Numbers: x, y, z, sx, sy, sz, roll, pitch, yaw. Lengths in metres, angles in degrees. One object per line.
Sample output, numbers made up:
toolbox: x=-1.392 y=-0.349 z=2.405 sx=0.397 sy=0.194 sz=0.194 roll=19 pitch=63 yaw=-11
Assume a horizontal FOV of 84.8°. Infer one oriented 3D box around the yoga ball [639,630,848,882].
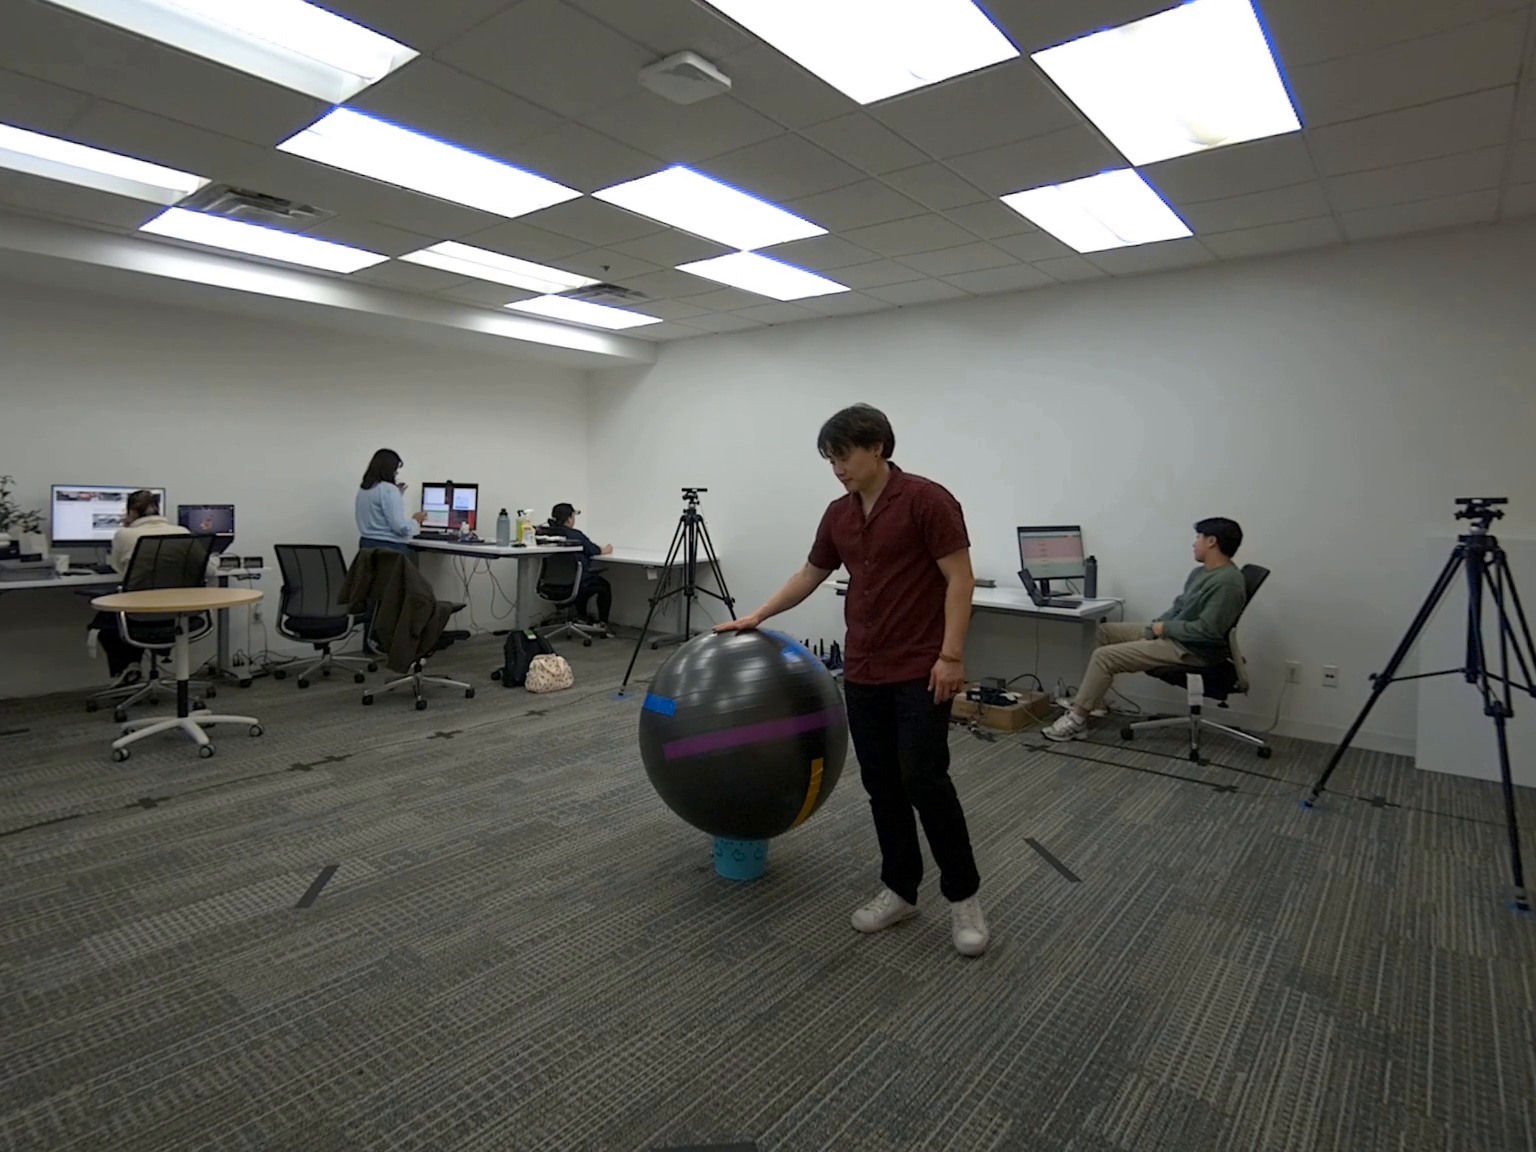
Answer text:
yoga ball: x=-0.106 y=0.561 z=3.101 sx=0.757 sy=0.755 sz=0.762 roll=1 pitch=4 yaw=-2
